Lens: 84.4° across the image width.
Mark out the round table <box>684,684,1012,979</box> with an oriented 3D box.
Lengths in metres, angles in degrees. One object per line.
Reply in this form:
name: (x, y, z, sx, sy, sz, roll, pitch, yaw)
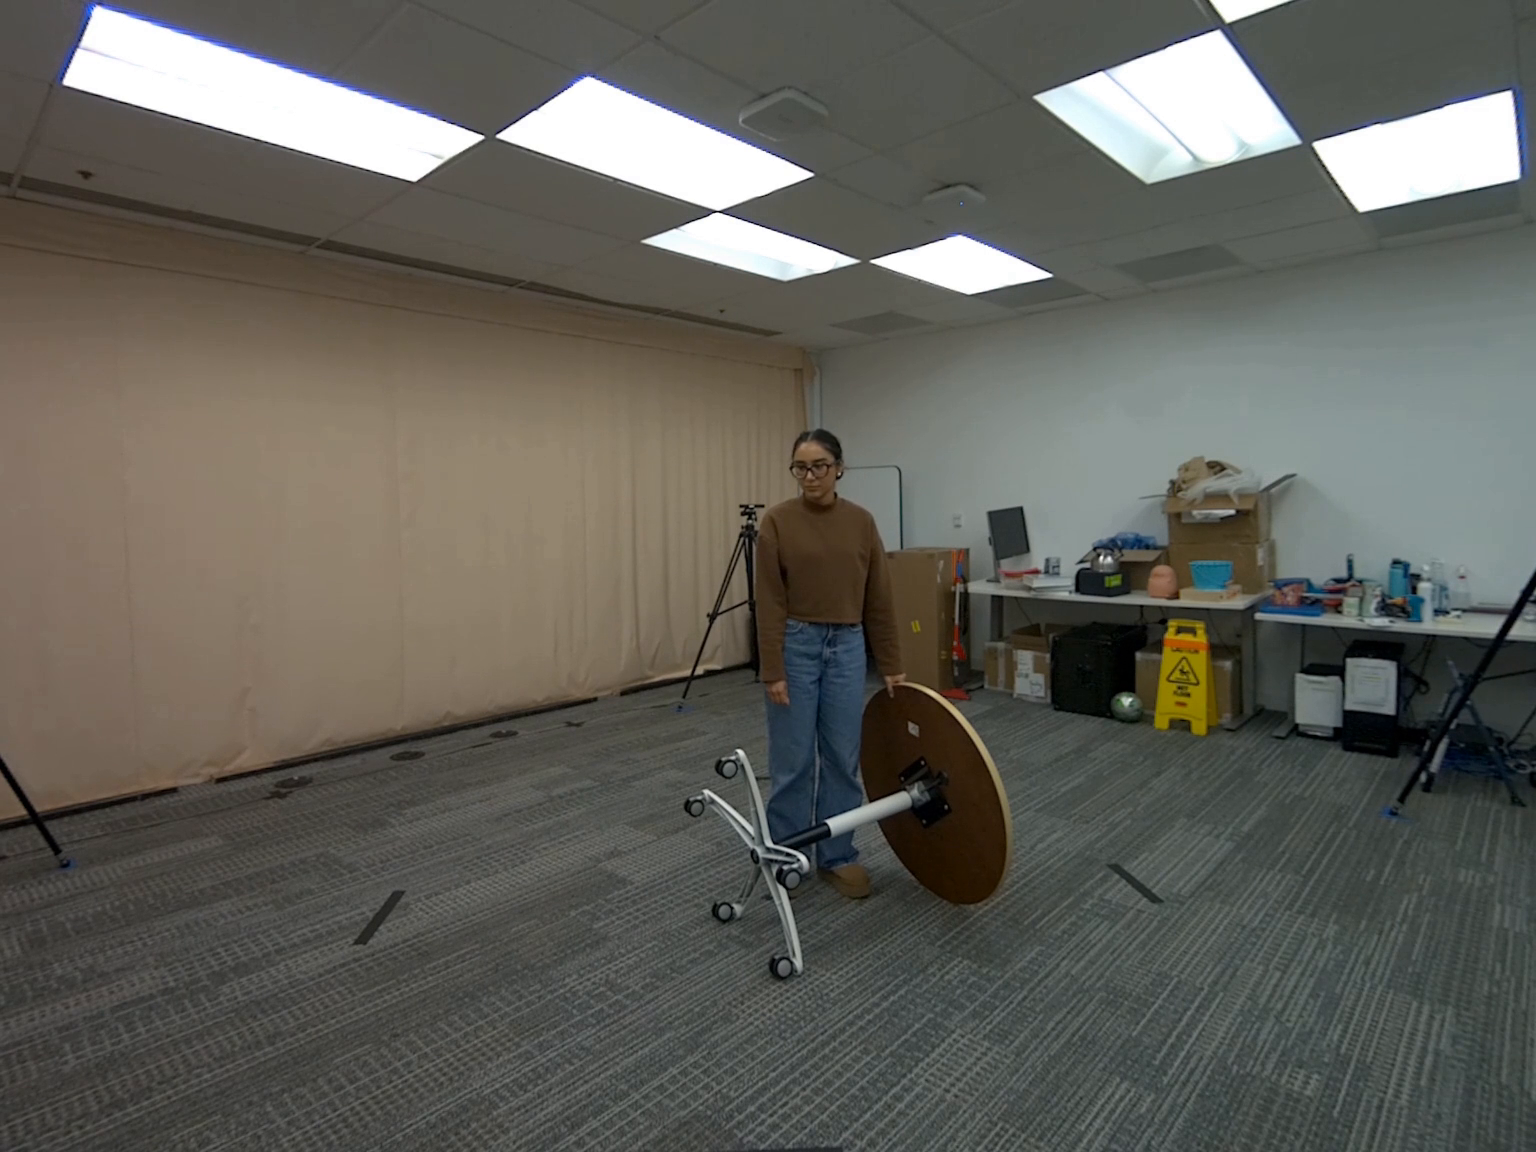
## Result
round table: (0.234, 0.820, 2.773, 0.776, 0.760, 0.785, -11, 8, -27)
